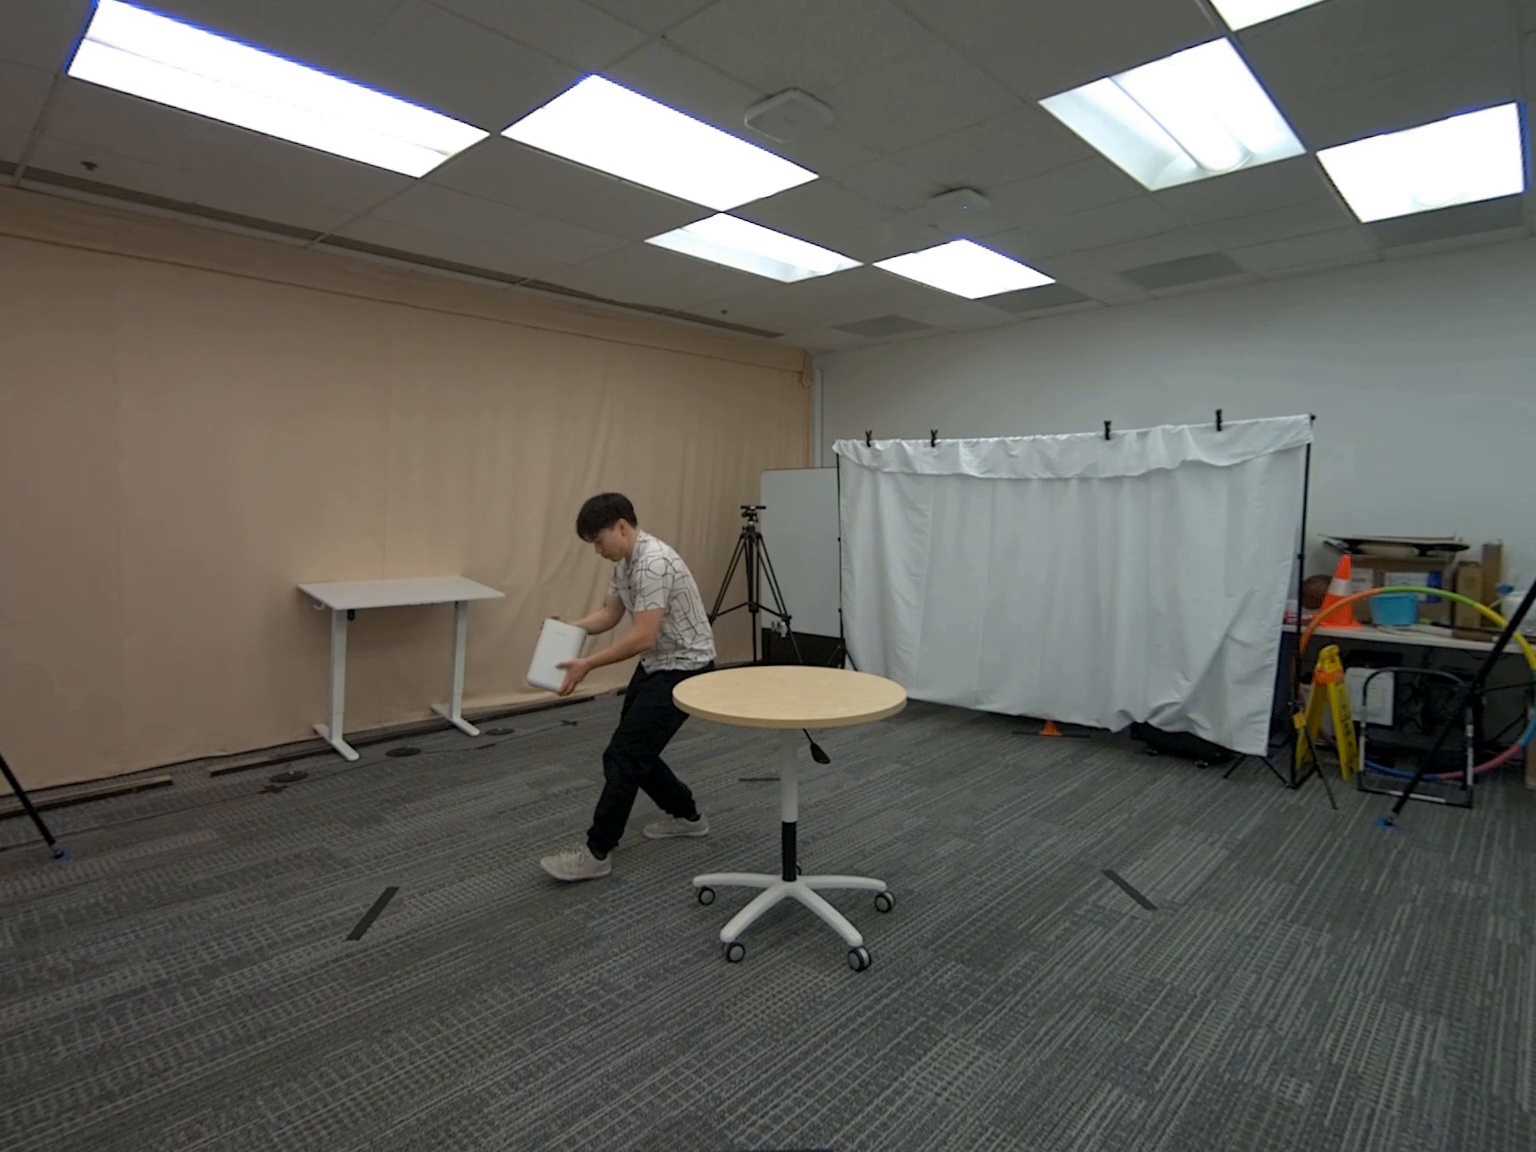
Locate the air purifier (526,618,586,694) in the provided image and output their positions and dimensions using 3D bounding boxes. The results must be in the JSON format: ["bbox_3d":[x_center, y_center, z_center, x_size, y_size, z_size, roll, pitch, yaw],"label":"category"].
[{"bbox_3d":[-0.815,0.321,3.280,0.170,0.266,0.172,15,-12,-7],"label":"air purifier"}]
